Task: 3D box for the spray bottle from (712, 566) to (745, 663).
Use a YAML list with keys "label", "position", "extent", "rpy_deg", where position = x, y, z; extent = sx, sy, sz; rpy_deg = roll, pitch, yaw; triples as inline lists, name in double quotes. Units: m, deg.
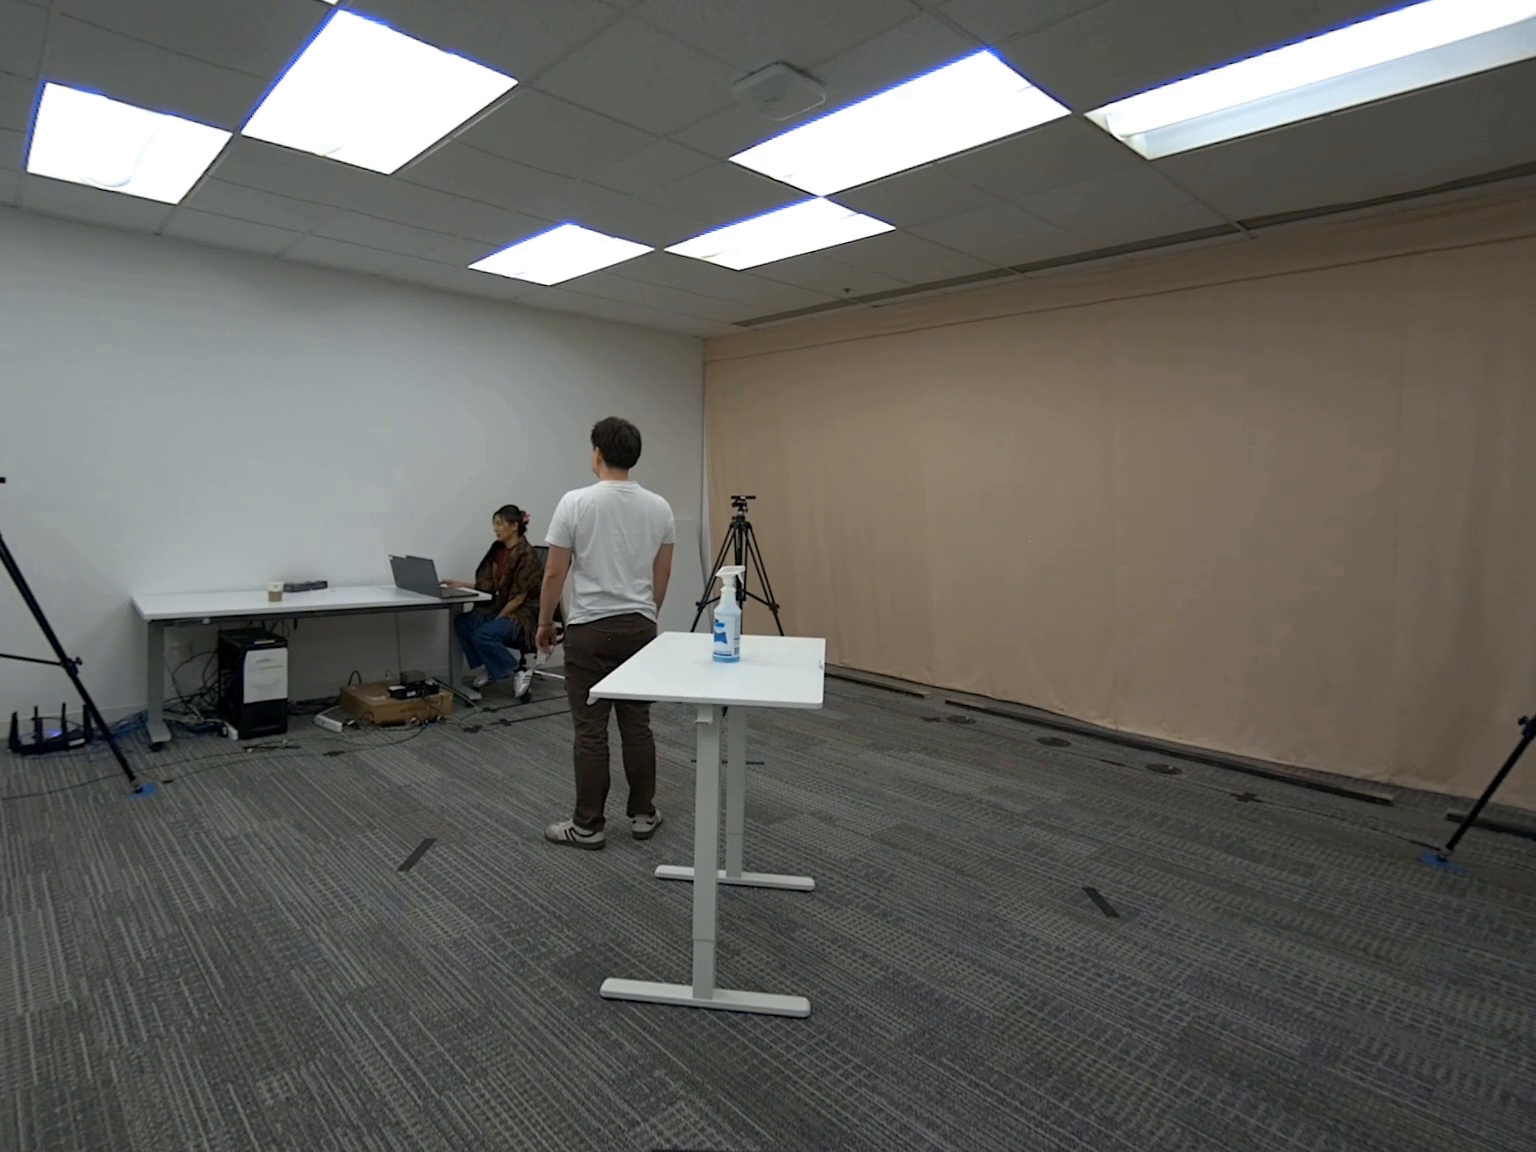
- label: "spray bottle"
  position: [-0.127, 0.118, 2.625]
  extent: [0.091, 0.297, 0.086]
  rpy_deg: [2, 3, 9]
